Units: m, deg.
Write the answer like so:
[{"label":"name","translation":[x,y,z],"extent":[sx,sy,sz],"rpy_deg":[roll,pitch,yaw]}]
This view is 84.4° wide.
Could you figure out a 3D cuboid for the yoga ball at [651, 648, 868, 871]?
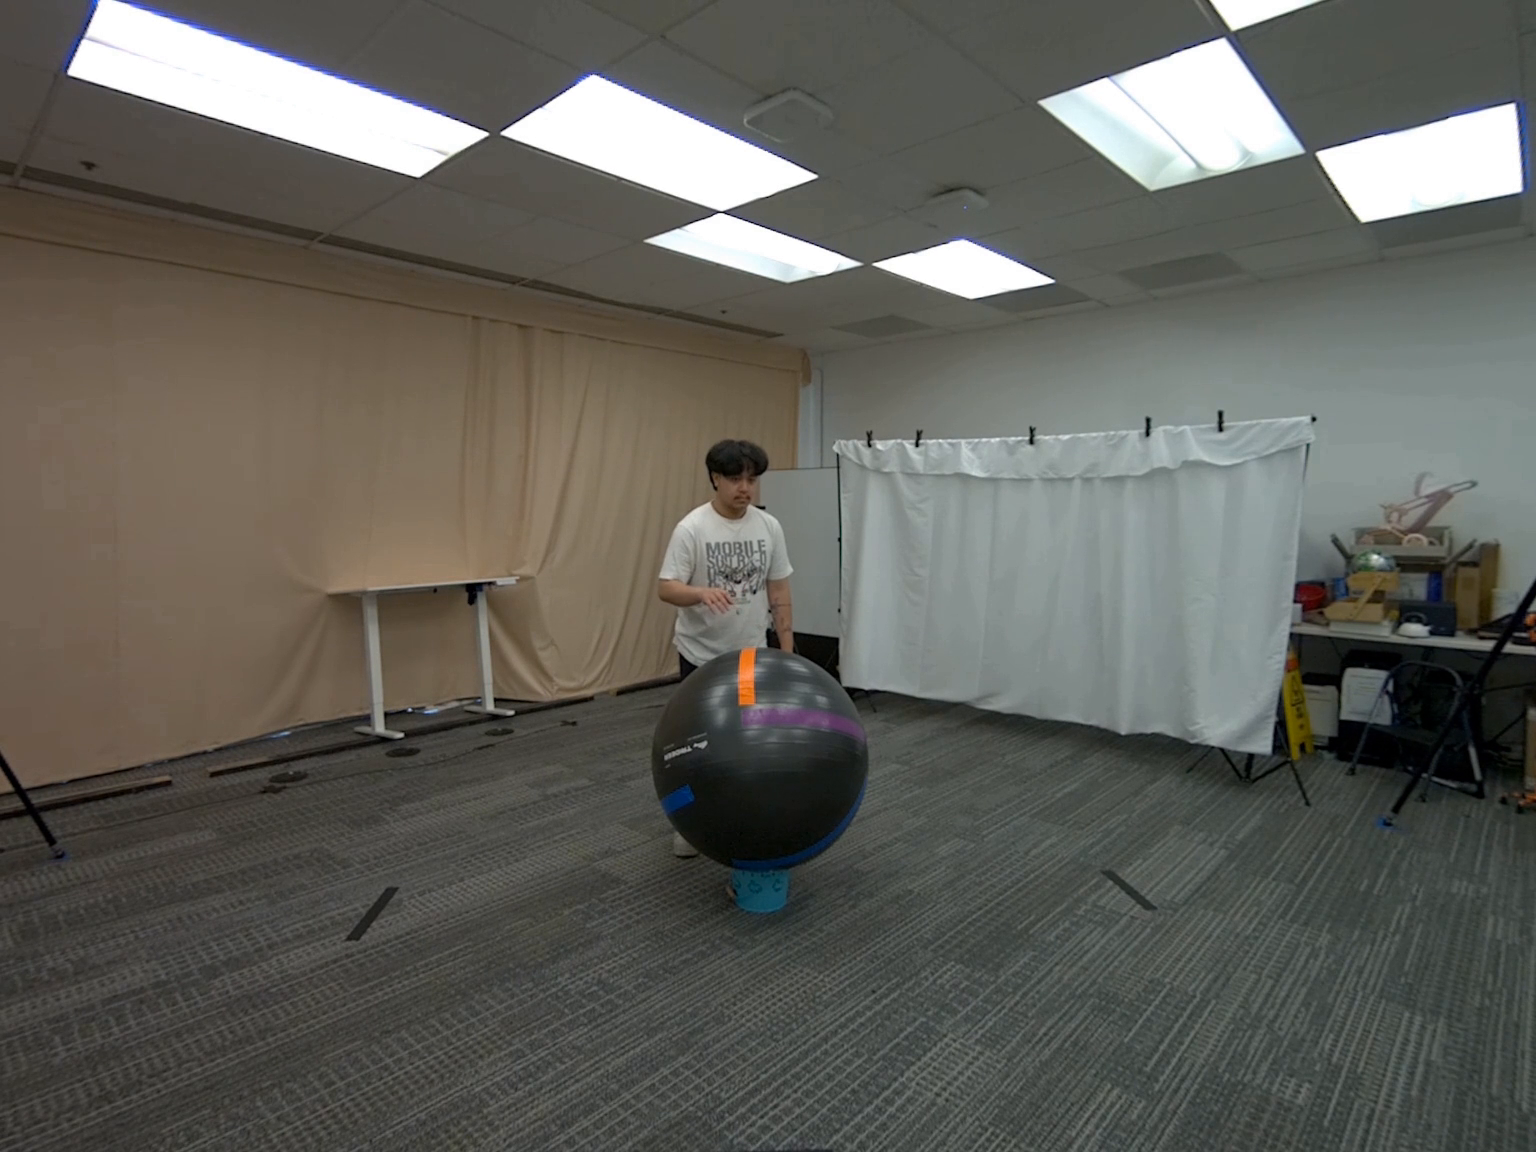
[{"label":"yoga ball","translation":[-0.033,0.638,2.948],"extent":[0.757,0.756,0.761],"rpy_deg":[0,4,-2]}]
